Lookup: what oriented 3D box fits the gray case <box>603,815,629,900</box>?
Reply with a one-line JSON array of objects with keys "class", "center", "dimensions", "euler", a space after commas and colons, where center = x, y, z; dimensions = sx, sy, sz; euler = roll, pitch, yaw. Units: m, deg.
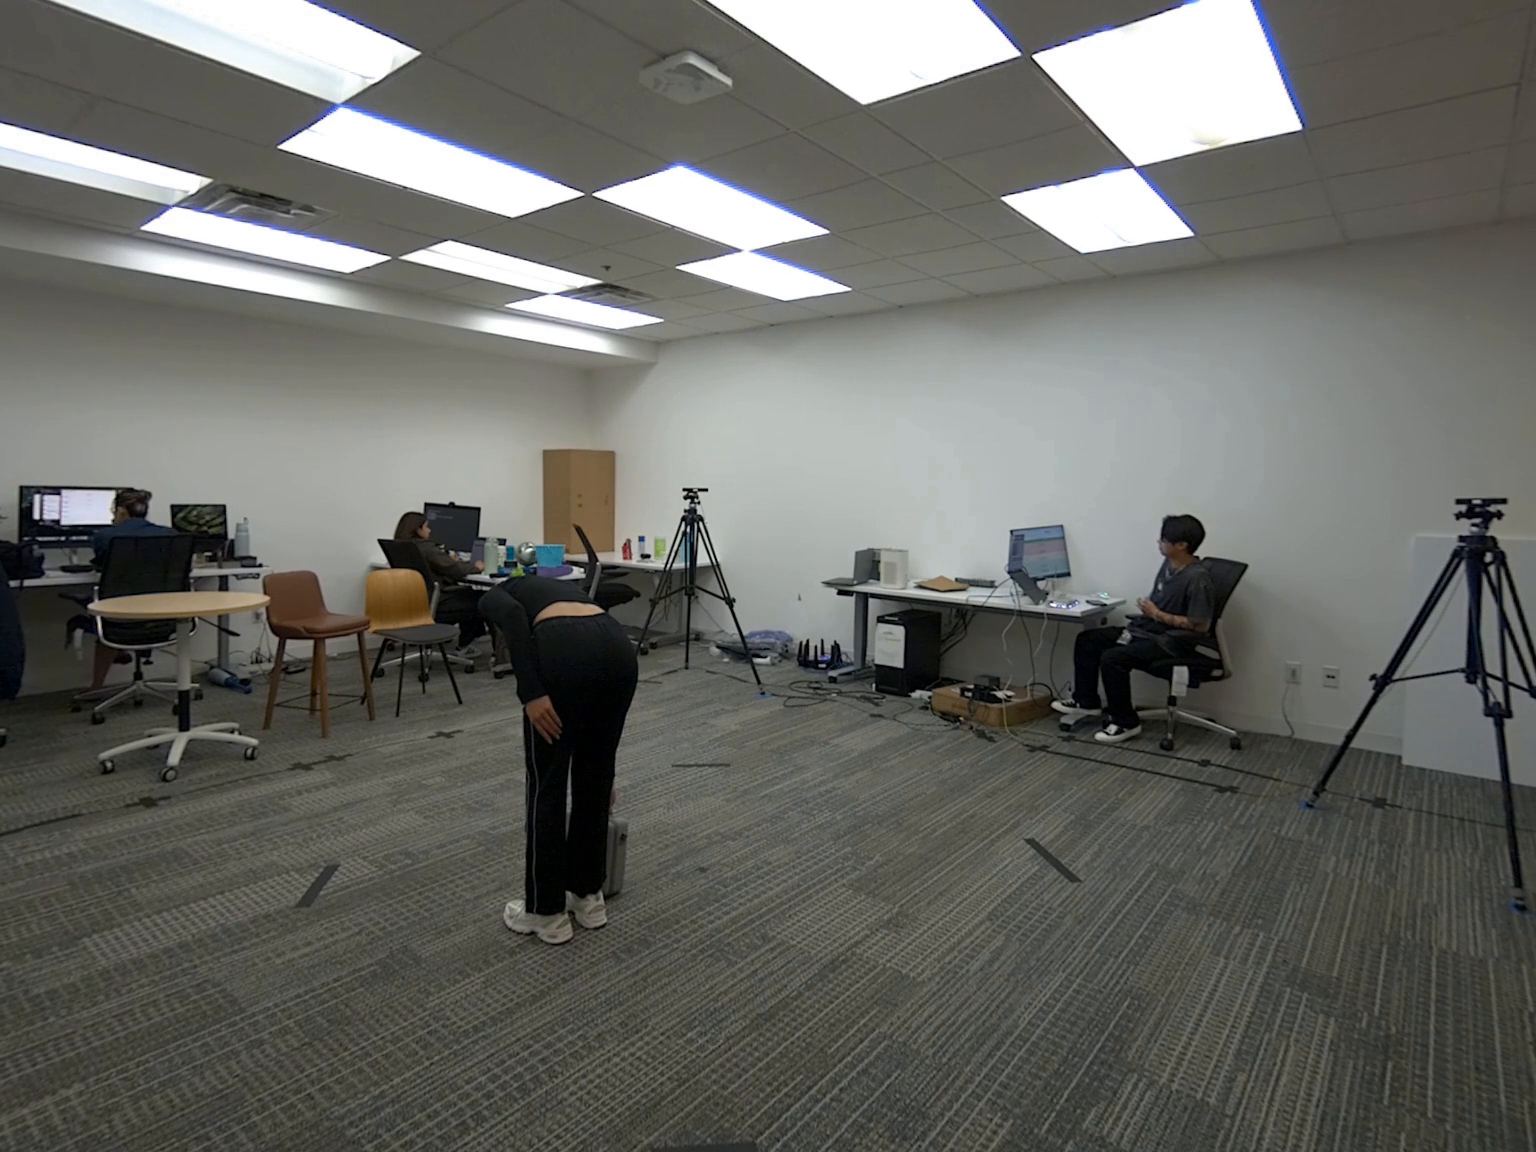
[{"class": "gray case", "center": [-0.619, 0.938, 2.960], "dimensions": [0.265, 0.261, 0.101], "euler": [3, -5, 37]}]
